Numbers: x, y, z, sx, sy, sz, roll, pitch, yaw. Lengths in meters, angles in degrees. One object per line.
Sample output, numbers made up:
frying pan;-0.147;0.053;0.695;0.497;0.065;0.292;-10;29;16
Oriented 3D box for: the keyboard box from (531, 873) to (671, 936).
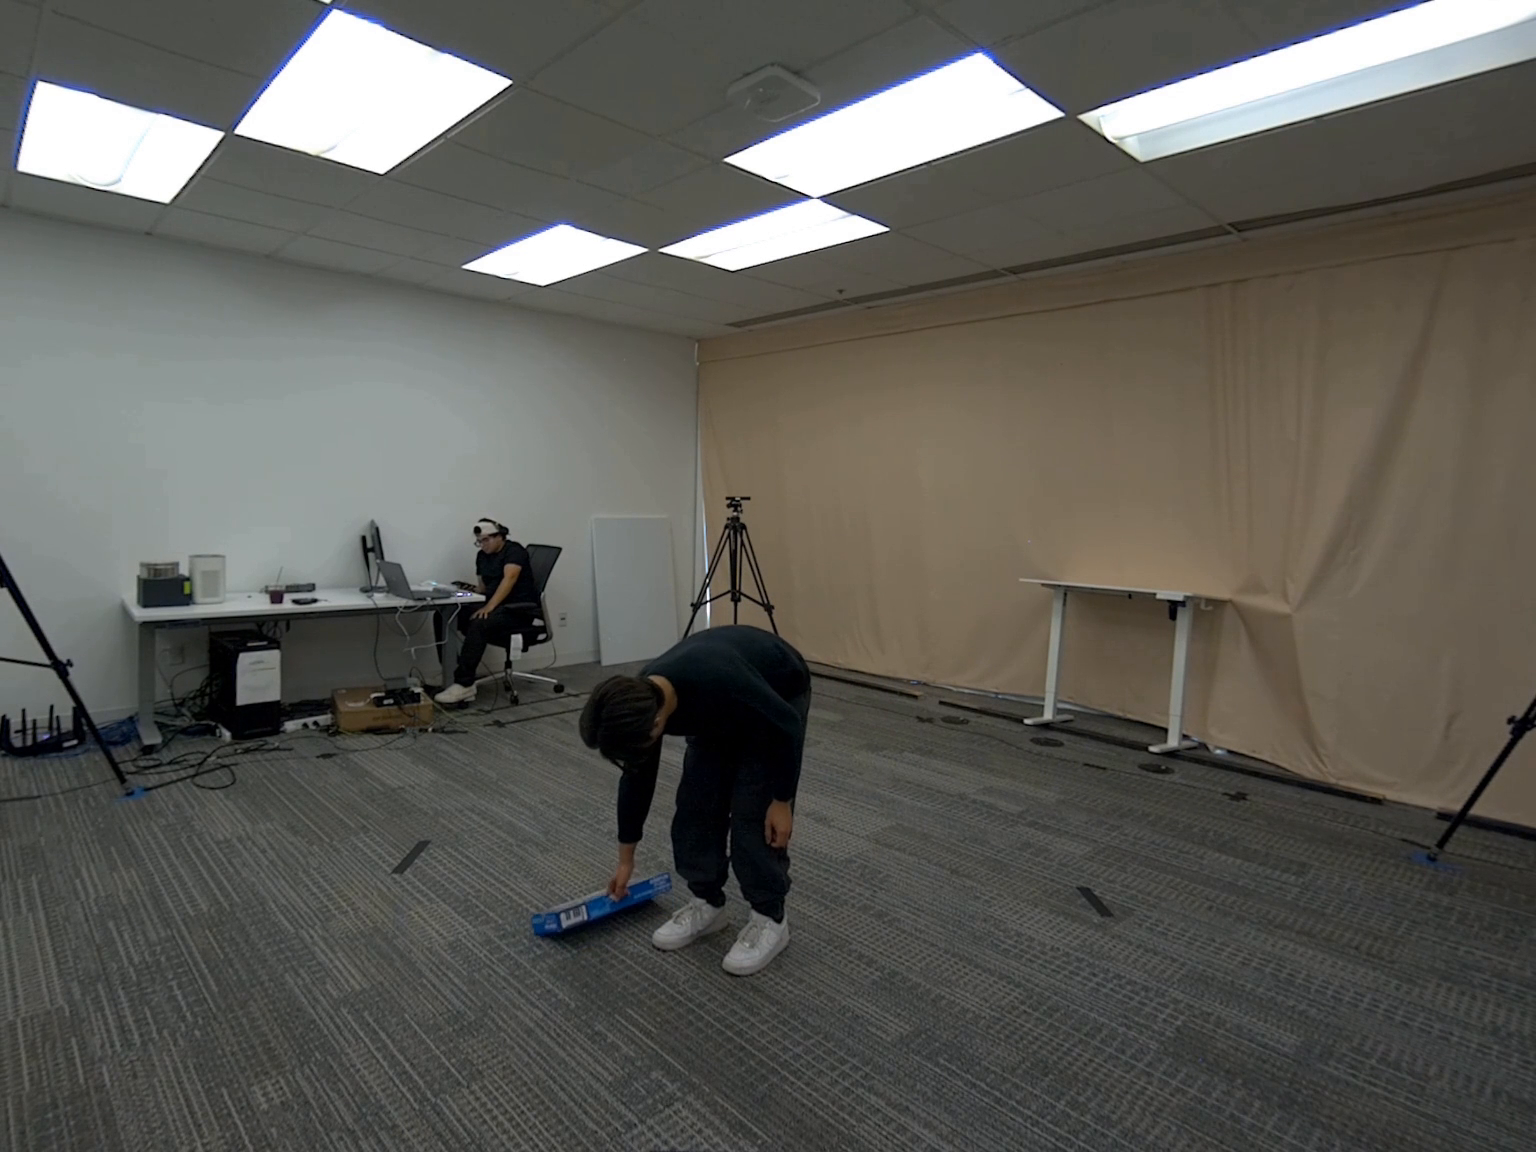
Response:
keyboard box;-0.544;1.070;2.761;0.427;0.060;0.178;-5;-16;-43
